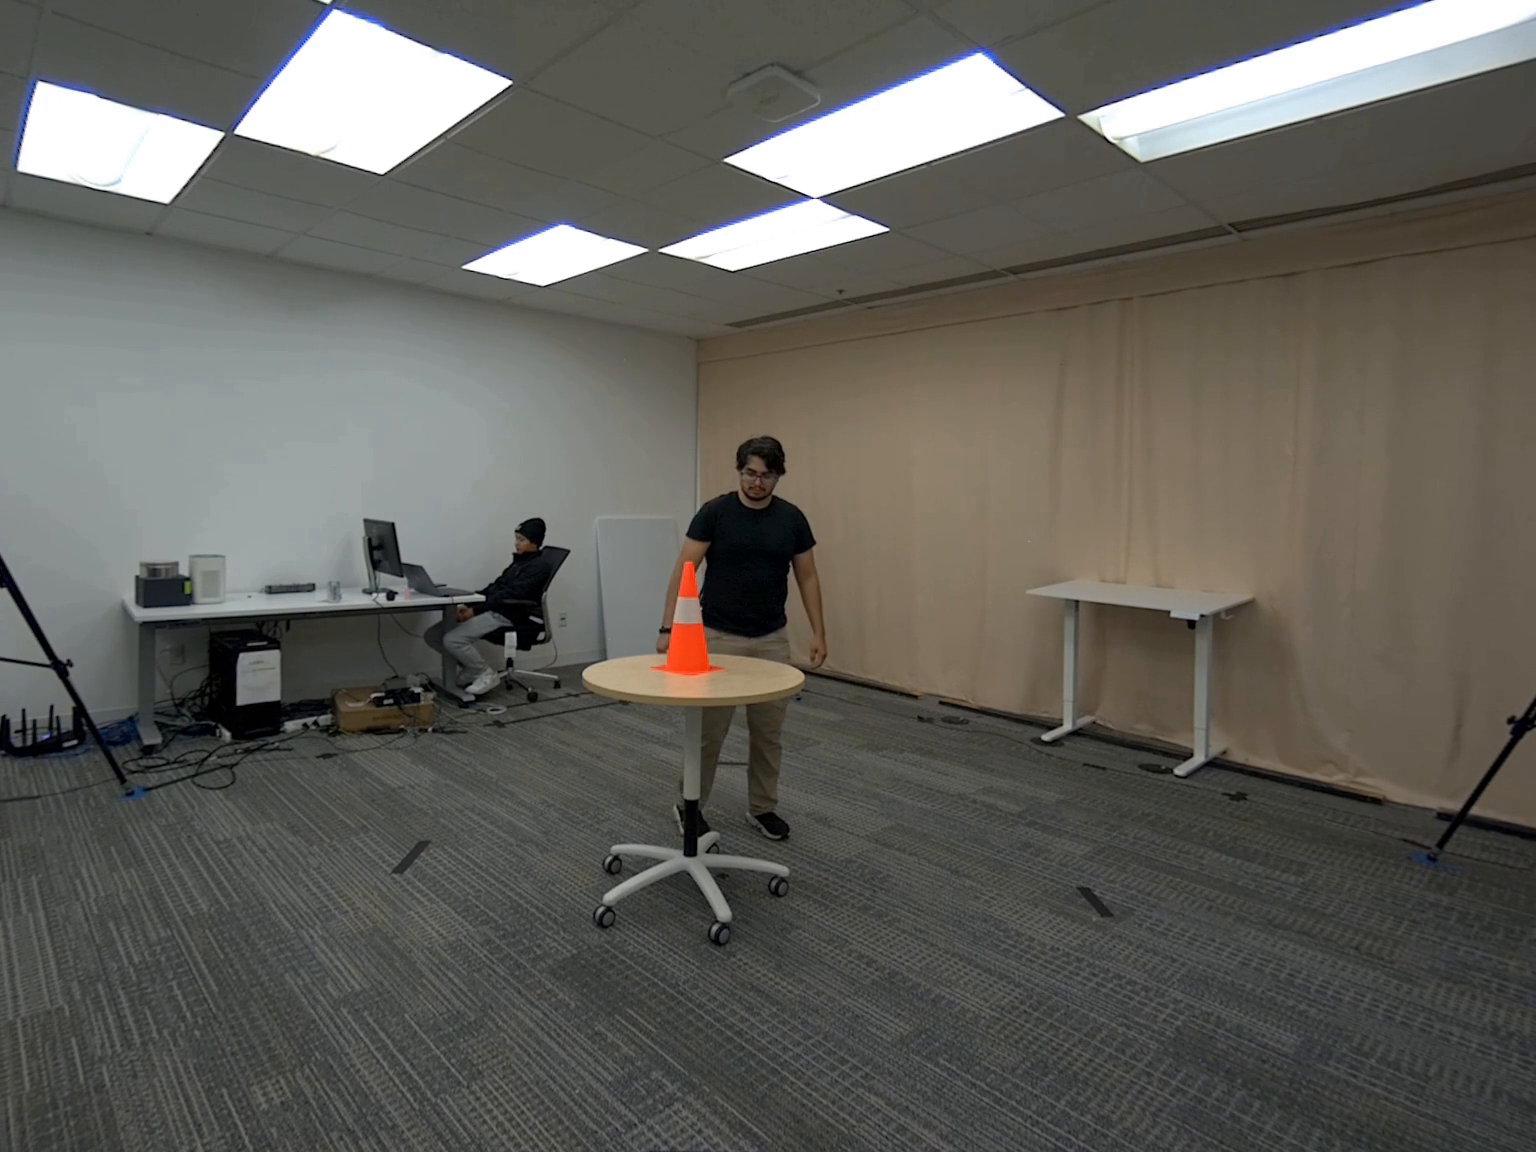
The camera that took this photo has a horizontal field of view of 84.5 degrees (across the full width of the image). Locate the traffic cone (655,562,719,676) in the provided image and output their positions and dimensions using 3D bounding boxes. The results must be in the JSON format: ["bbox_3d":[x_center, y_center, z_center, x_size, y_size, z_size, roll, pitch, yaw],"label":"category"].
[{"bbox_3d":[-0.292,0.143,2.986,0.208,0.383,0.200,3,4,39],"label":"traffic cone"}]
